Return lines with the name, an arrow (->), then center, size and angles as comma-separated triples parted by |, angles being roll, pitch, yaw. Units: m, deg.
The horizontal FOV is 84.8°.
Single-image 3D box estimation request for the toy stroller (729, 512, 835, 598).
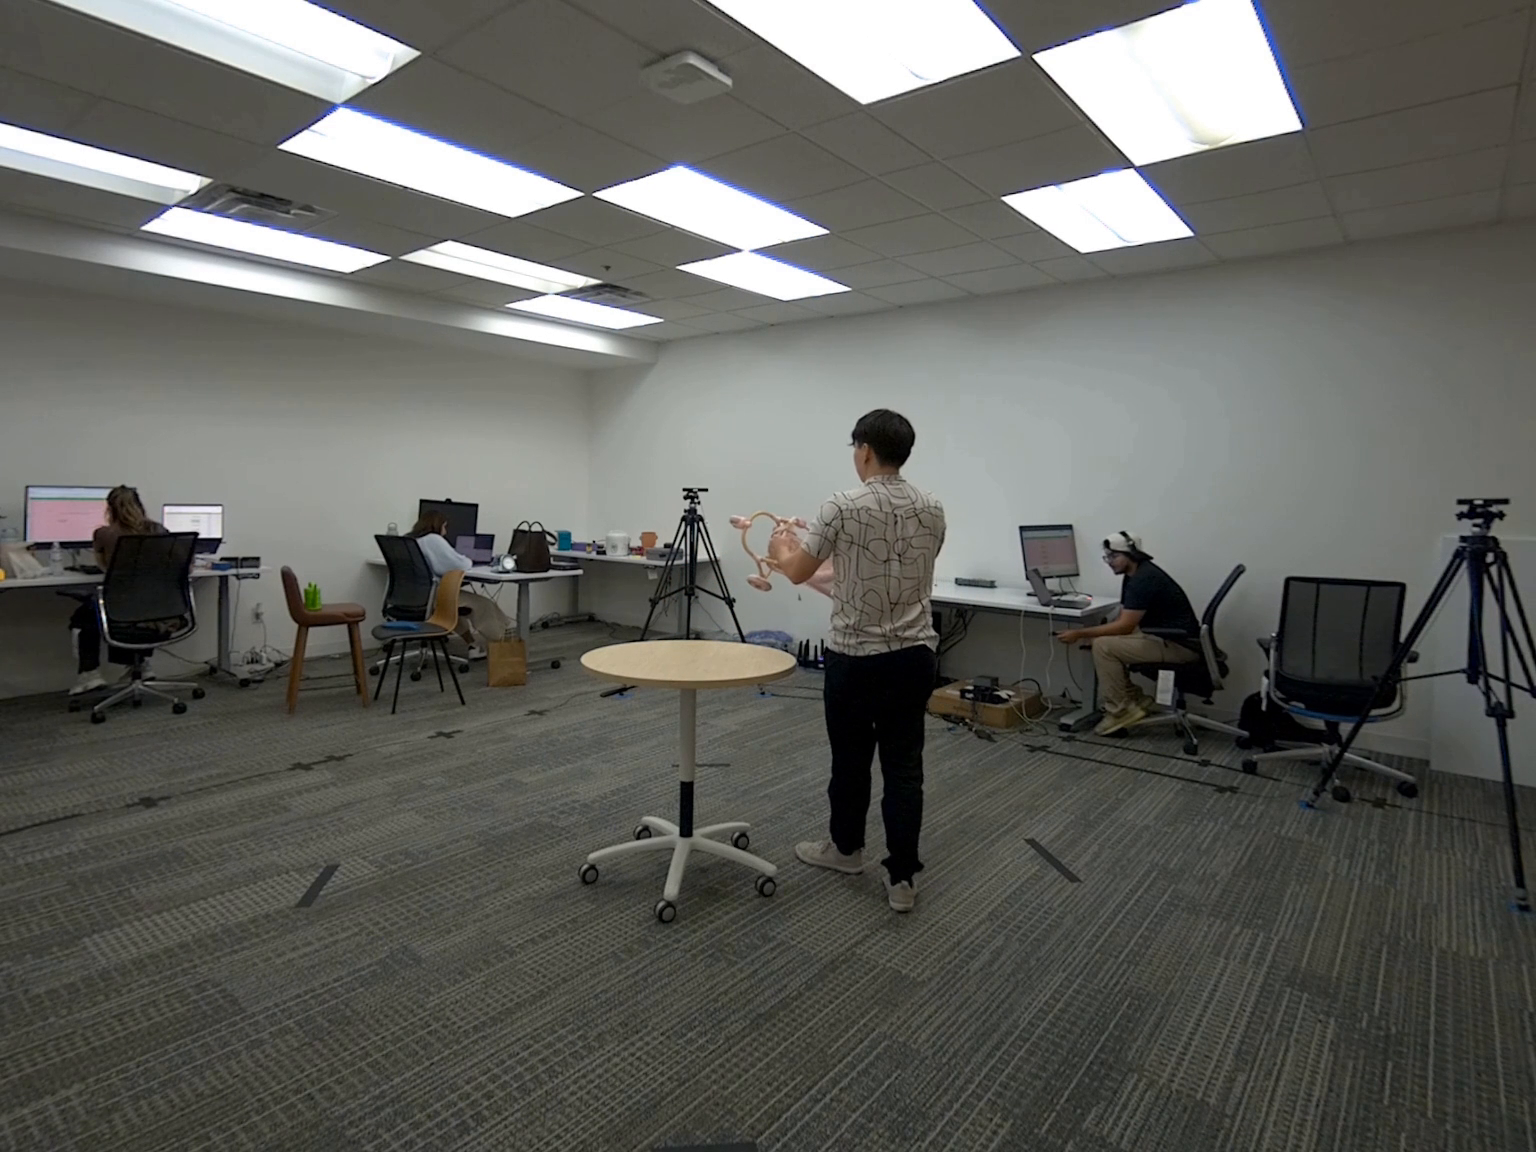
toy stroller -> 0.103, -0.095, 3.362 | 0.553, 0.283, 0.328 | 18, -26, 30
